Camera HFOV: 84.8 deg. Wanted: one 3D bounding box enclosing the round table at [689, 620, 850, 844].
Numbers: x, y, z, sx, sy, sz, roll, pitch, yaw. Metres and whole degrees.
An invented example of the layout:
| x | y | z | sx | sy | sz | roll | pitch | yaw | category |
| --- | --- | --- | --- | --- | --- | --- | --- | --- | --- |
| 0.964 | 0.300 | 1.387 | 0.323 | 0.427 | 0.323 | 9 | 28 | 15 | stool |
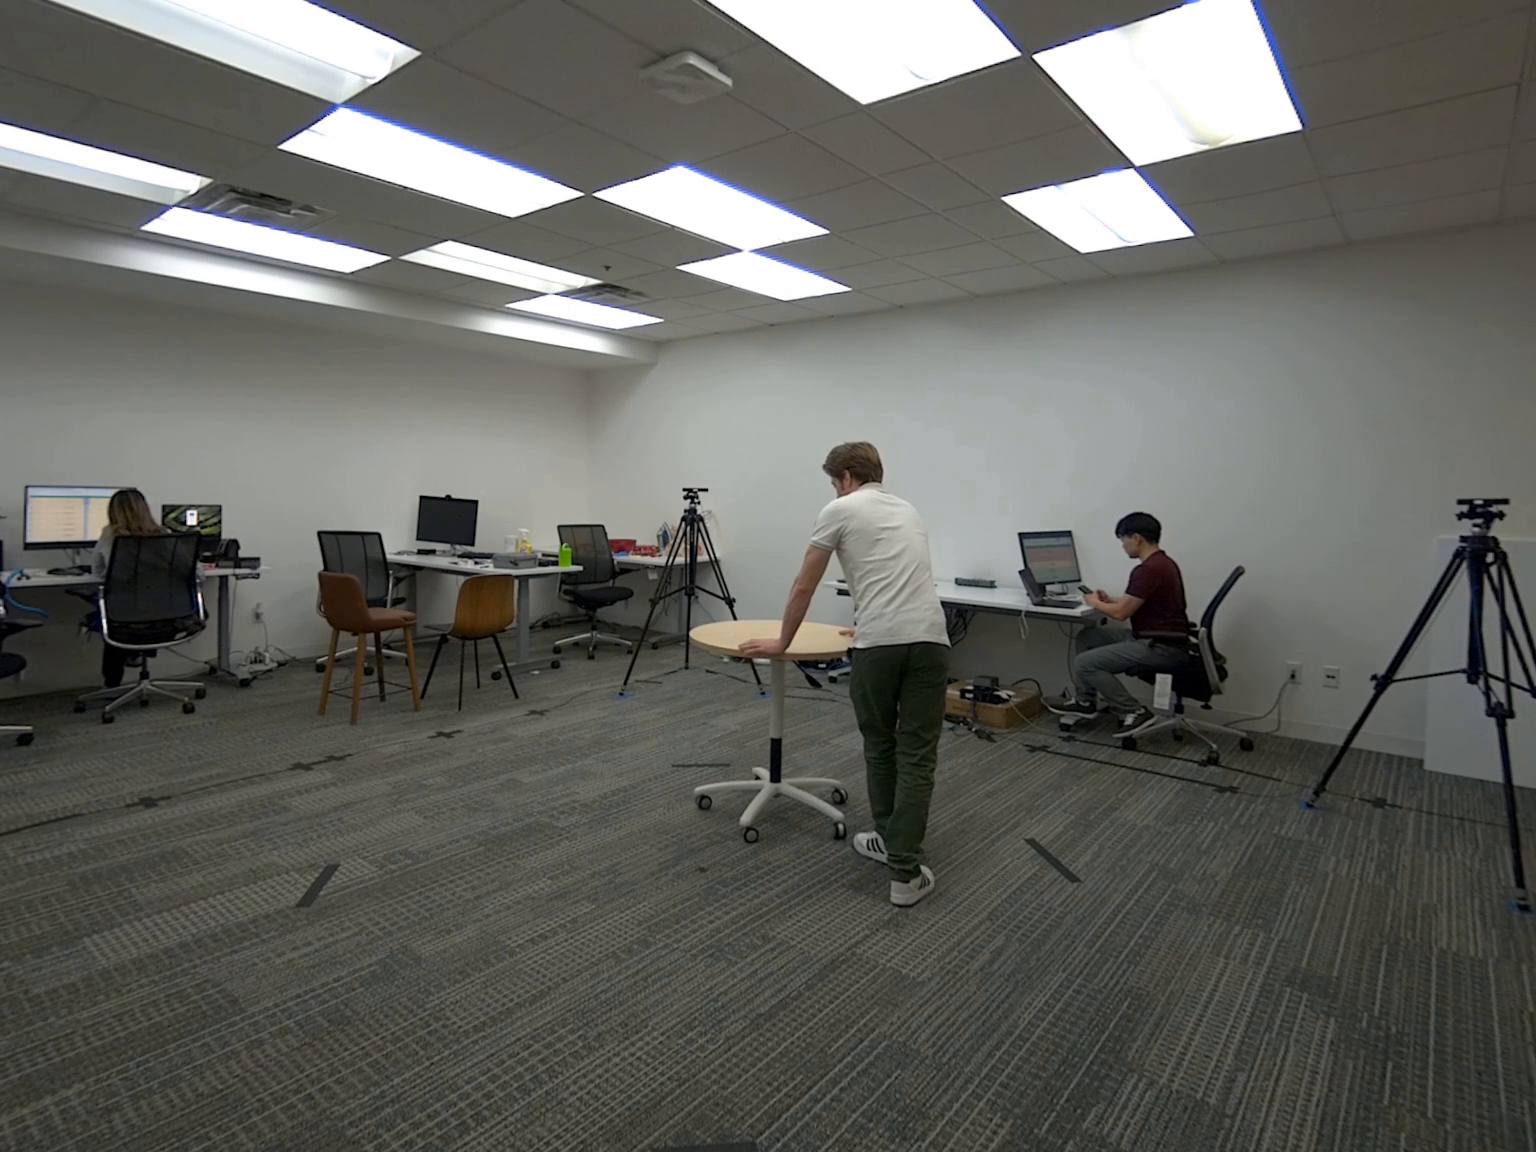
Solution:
| x | y | z | sx | sy | sz | roll | pitch | yaw | category |
| --- | --- | --- | --- | --- | --- | --- | --- | --- | --- |
| 0.025 | 0.637 | 3.649 | 0.763 | 0.791 | 0.768 | 1 | 5 | -2 | round table |
